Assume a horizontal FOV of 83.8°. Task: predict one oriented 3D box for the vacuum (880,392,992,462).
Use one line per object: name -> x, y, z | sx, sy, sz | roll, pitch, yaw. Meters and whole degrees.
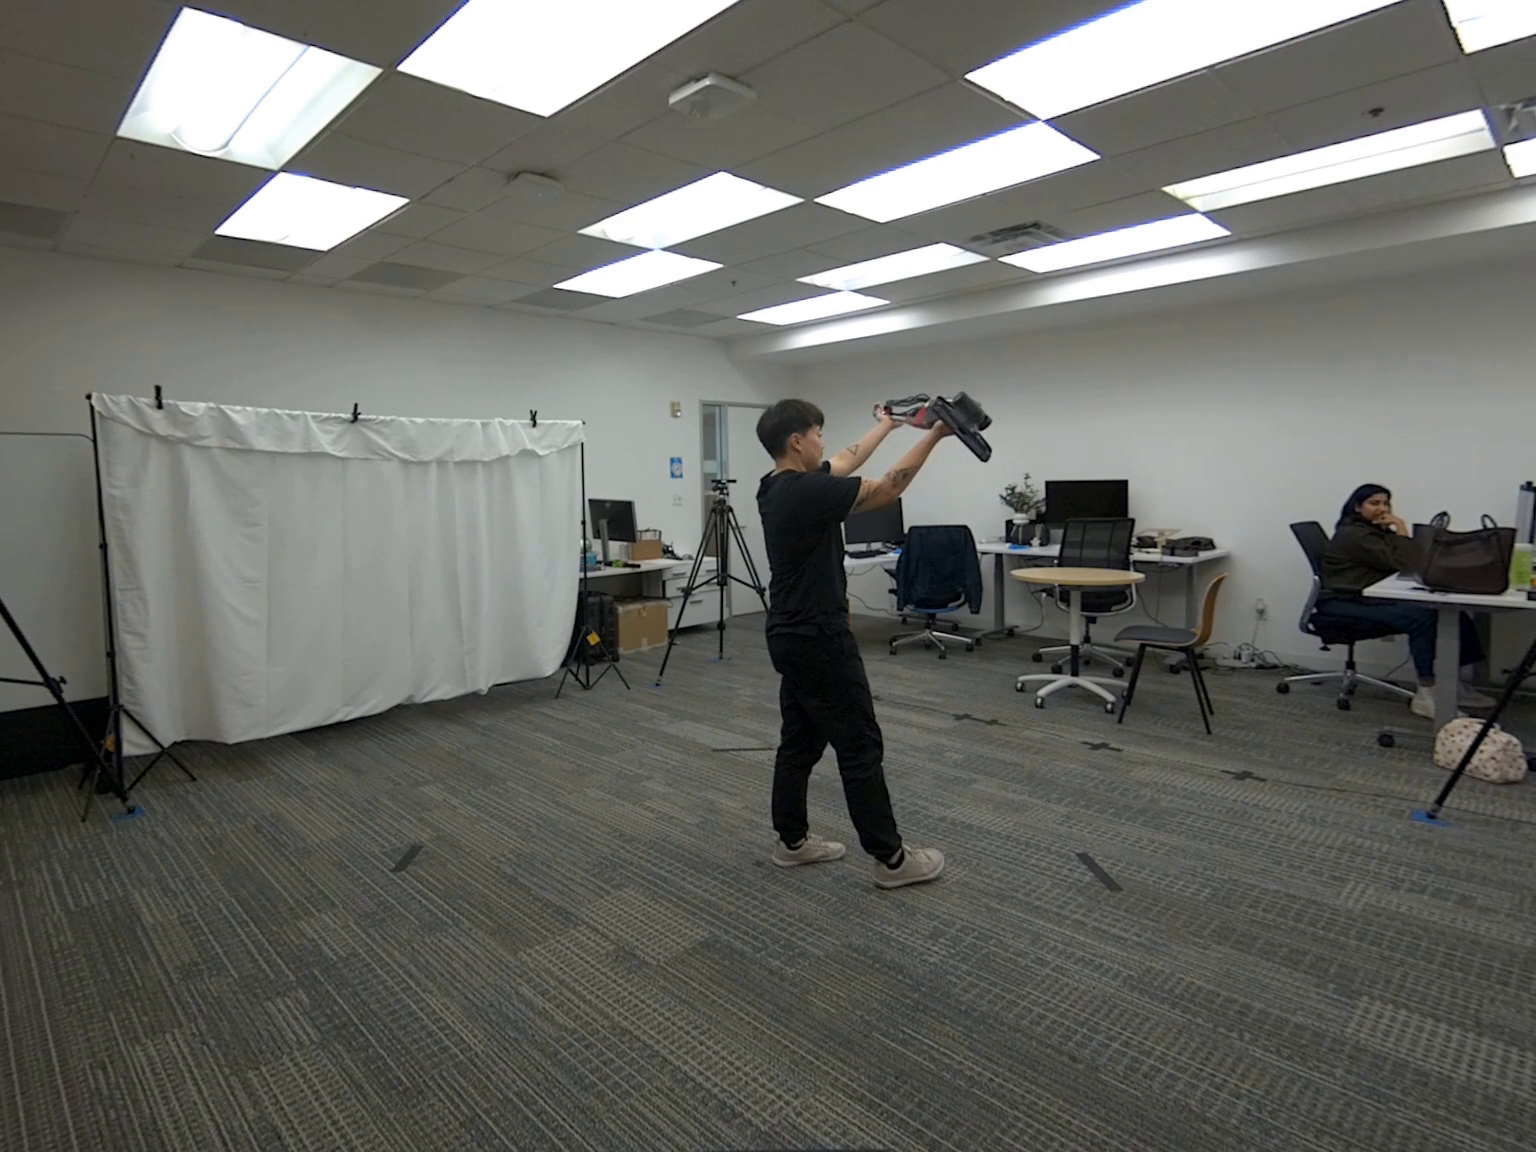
vacuum -> 0.551, -0.606, 3.140 | 0.248, 0.144, 1.067 | 41, 7, -15
